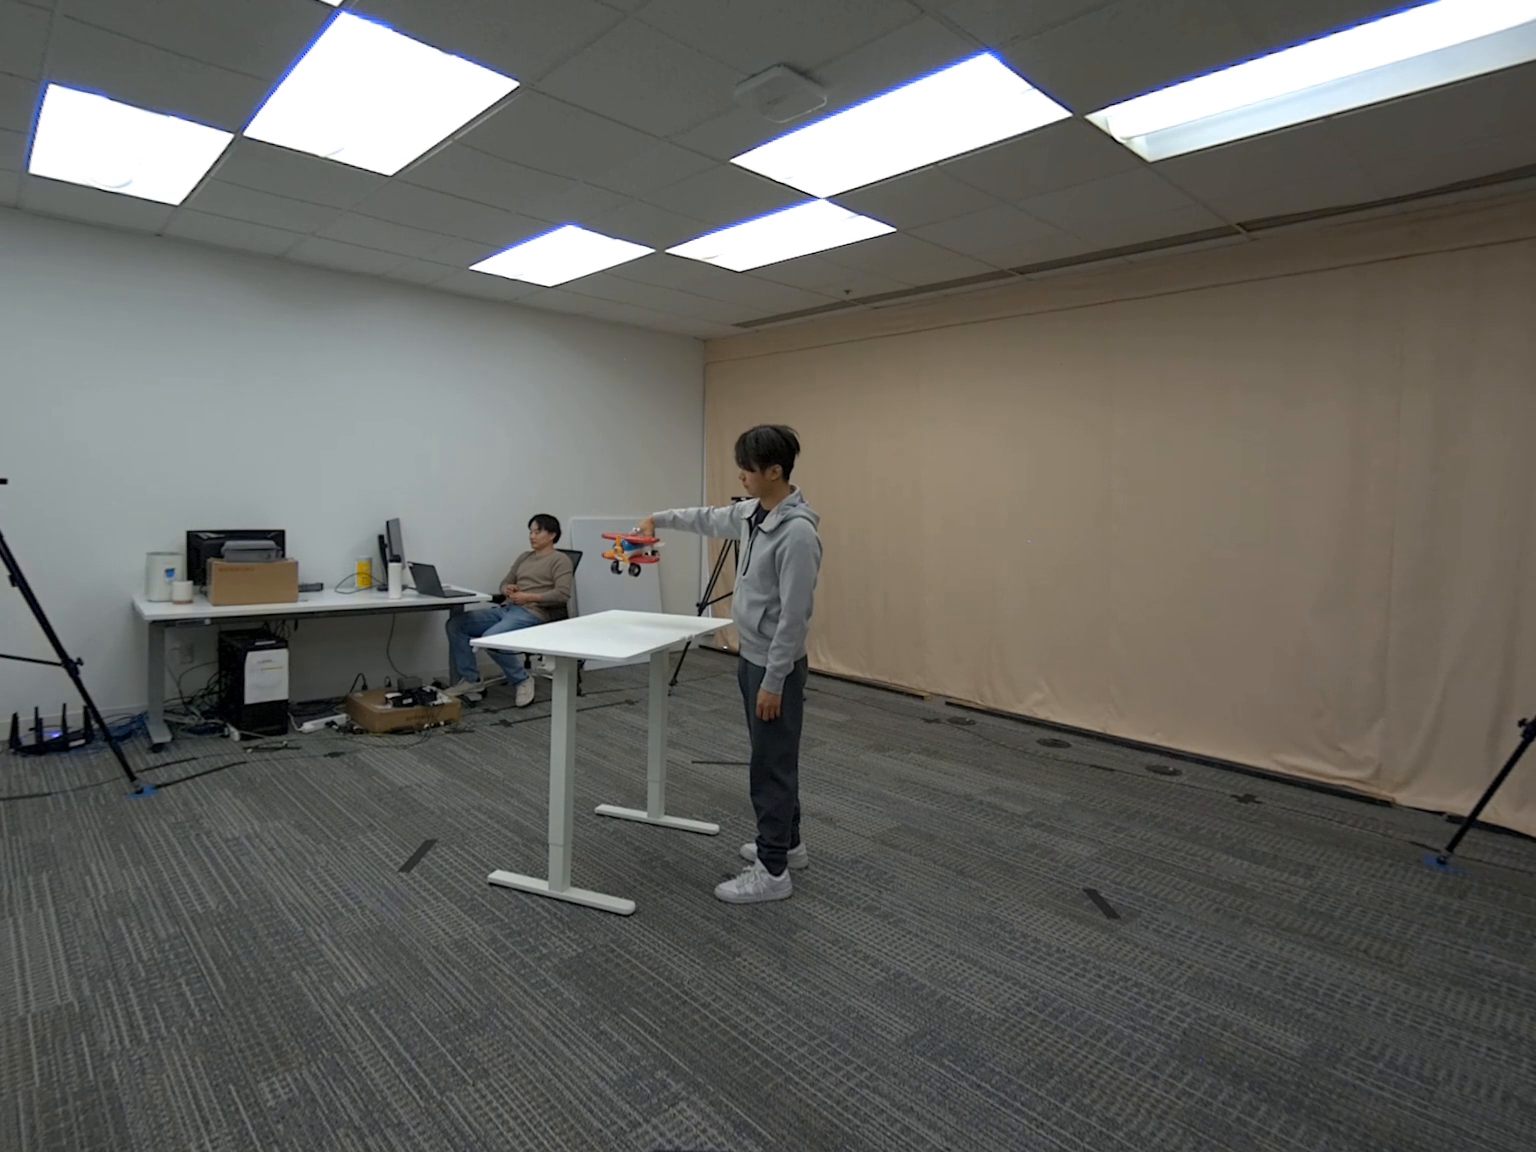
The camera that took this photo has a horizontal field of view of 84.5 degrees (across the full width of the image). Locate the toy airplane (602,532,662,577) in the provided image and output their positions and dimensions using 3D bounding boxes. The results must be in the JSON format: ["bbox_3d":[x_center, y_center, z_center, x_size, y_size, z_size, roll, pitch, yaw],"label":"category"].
[{"bbox_3d":[-0.542,-0.111,3.345,0.251,0.153,0.263,-5,24,2],"label":"toy airplane"}]
